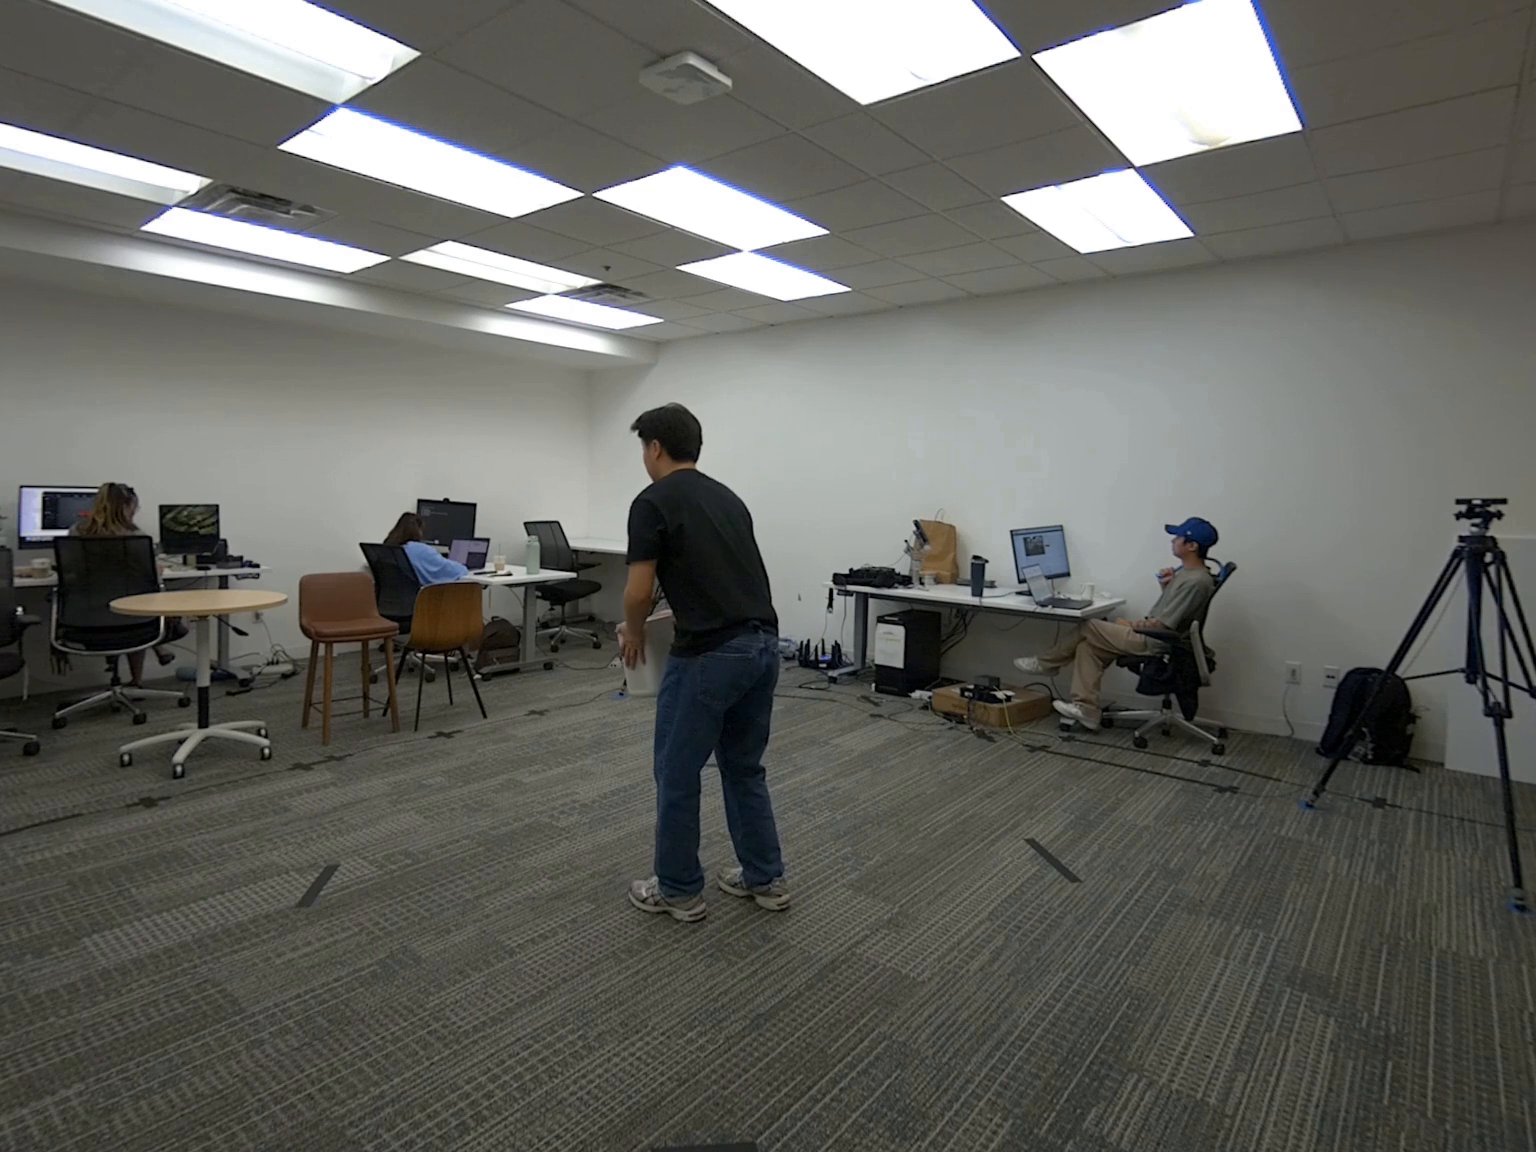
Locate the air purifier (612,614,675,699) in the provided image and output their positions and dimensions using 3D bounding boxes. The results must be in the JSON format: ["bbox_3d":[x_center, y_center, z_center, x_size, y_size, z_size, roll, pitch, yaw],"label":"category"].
[{"bbox_3d":[-0.416,0.283,3.000,0.176,0.266,0.166,-10,-2,37],"label":"air purifier"}]
